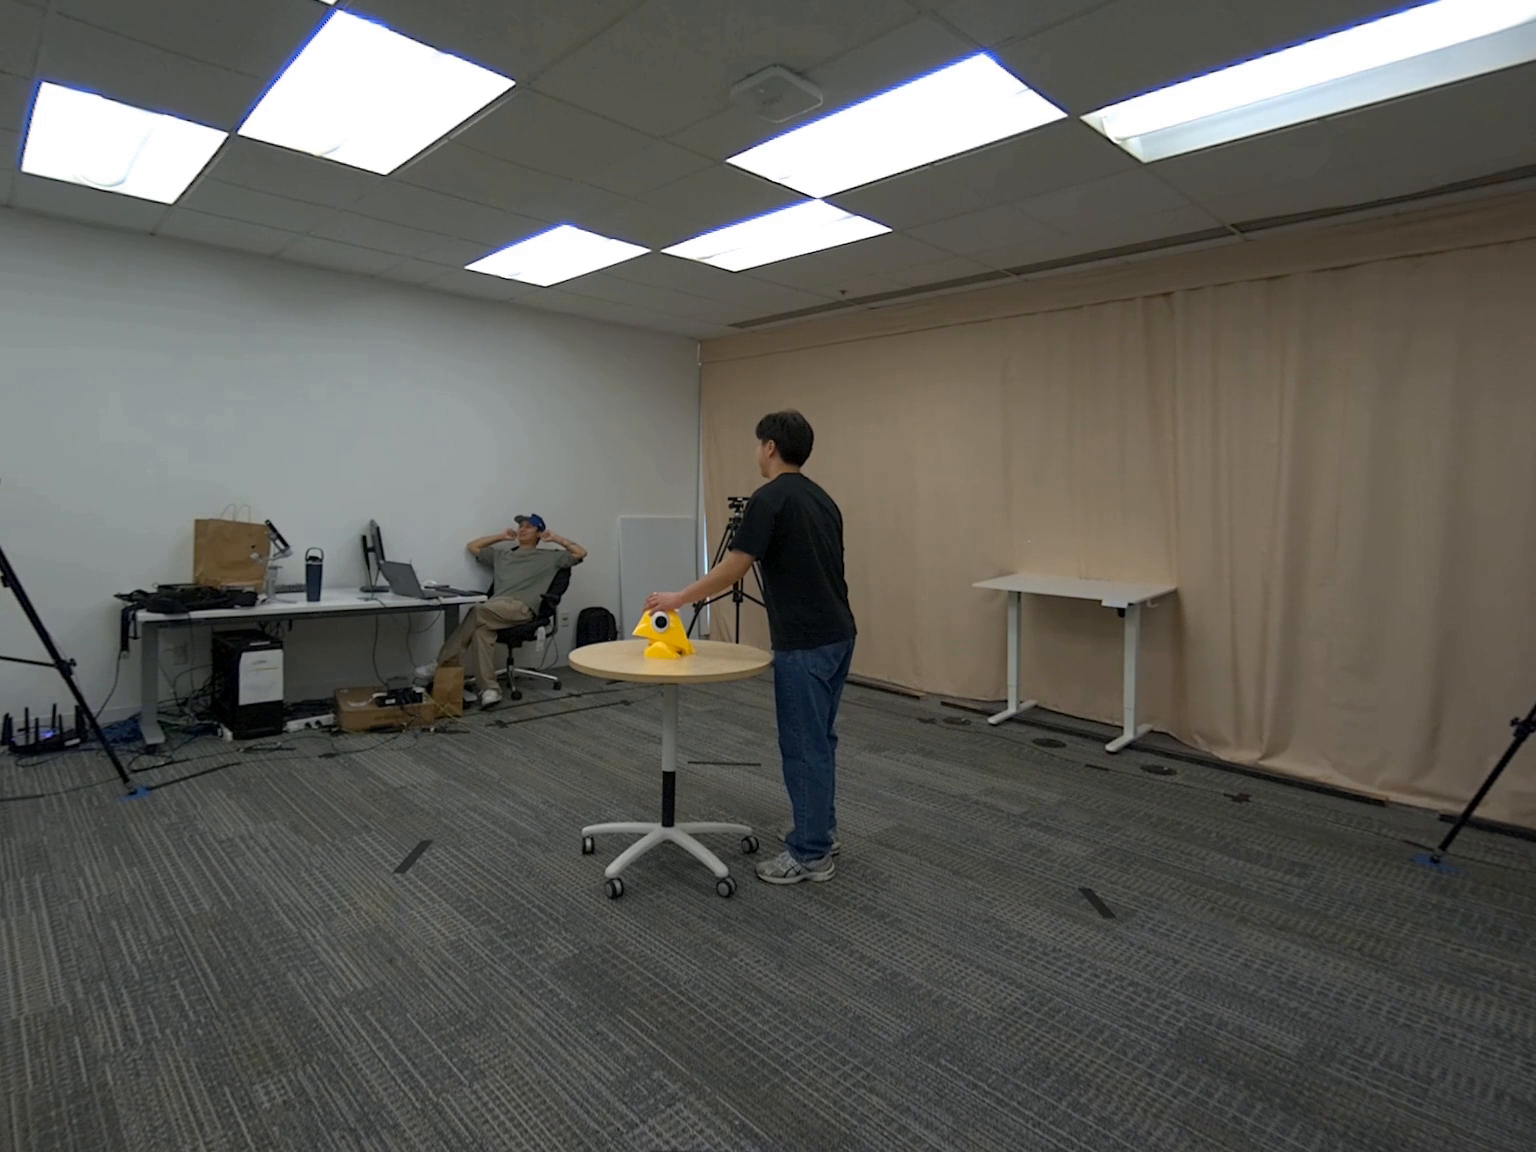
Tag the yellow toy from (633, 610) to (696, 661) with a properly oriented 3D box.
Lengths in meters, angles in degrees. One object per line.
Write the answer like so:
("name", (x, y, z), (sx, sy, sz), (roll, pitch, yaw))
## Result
("yellow toy", (-0.383, 0.183, 3.210), (0.197, 0.230, 0.201), (3, 4, 27))
